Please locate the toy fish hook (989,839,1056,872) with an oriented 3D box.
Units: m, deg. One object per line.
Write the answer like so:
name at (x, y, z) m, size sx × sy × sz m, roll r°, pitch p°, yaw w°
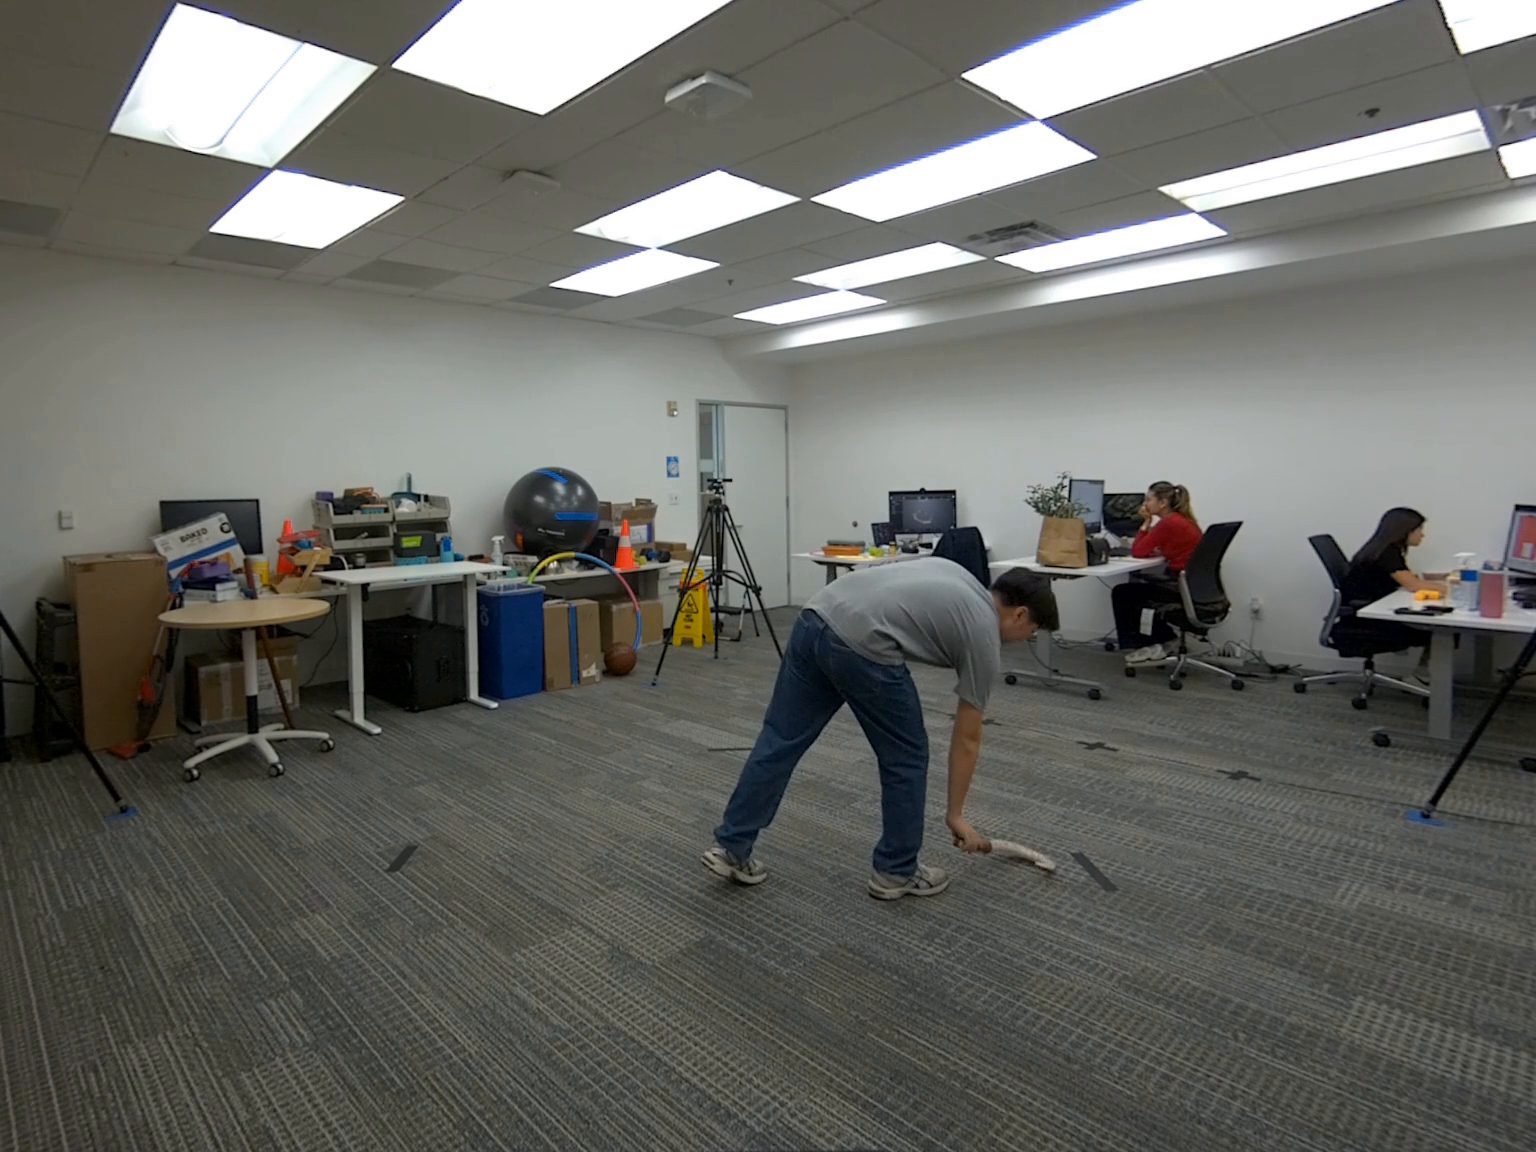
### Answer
toy fish hook at (0.831, 0.948, 2.932) m, size 0.488 × 0.048 × 0.232 m, roll 21°, pitch -9°, yaw -42°
